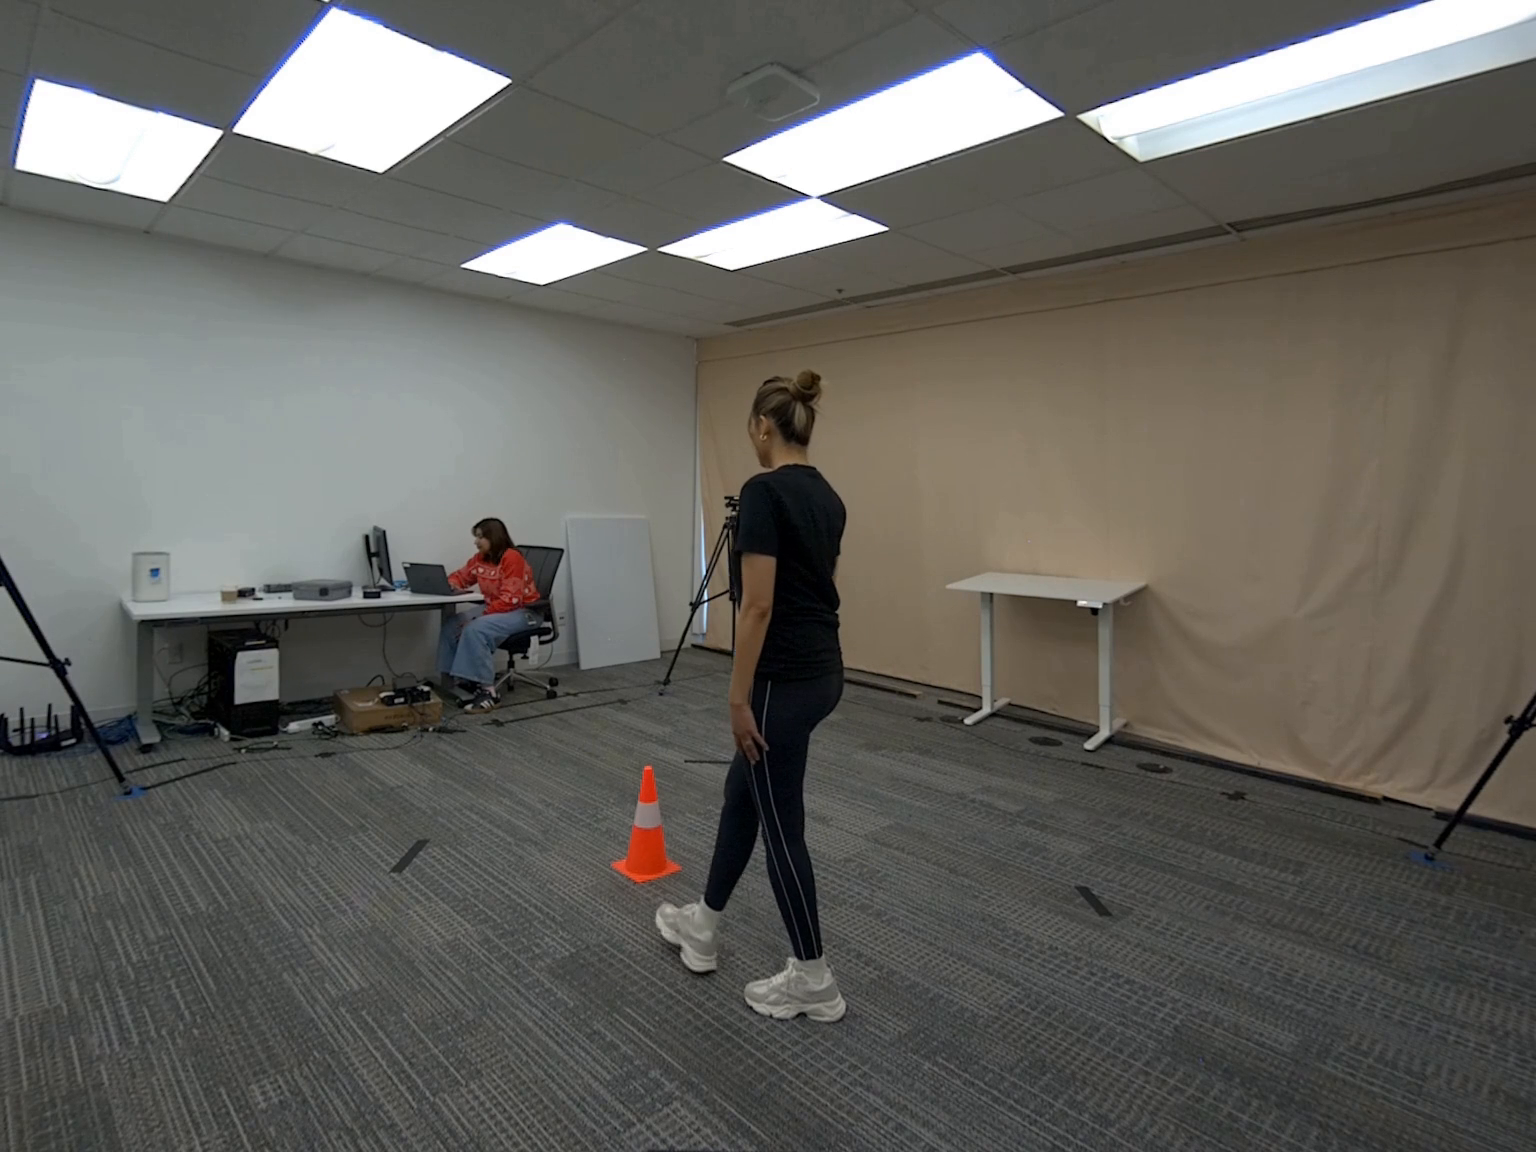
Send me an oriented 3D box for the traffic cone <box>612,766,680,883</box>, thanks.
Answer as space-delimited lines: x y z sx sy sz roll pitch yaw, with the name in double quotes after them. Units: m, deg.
-0.463 0.910 3.151 0.210 0.383 0.198 4 4 42 "traffic cone"
